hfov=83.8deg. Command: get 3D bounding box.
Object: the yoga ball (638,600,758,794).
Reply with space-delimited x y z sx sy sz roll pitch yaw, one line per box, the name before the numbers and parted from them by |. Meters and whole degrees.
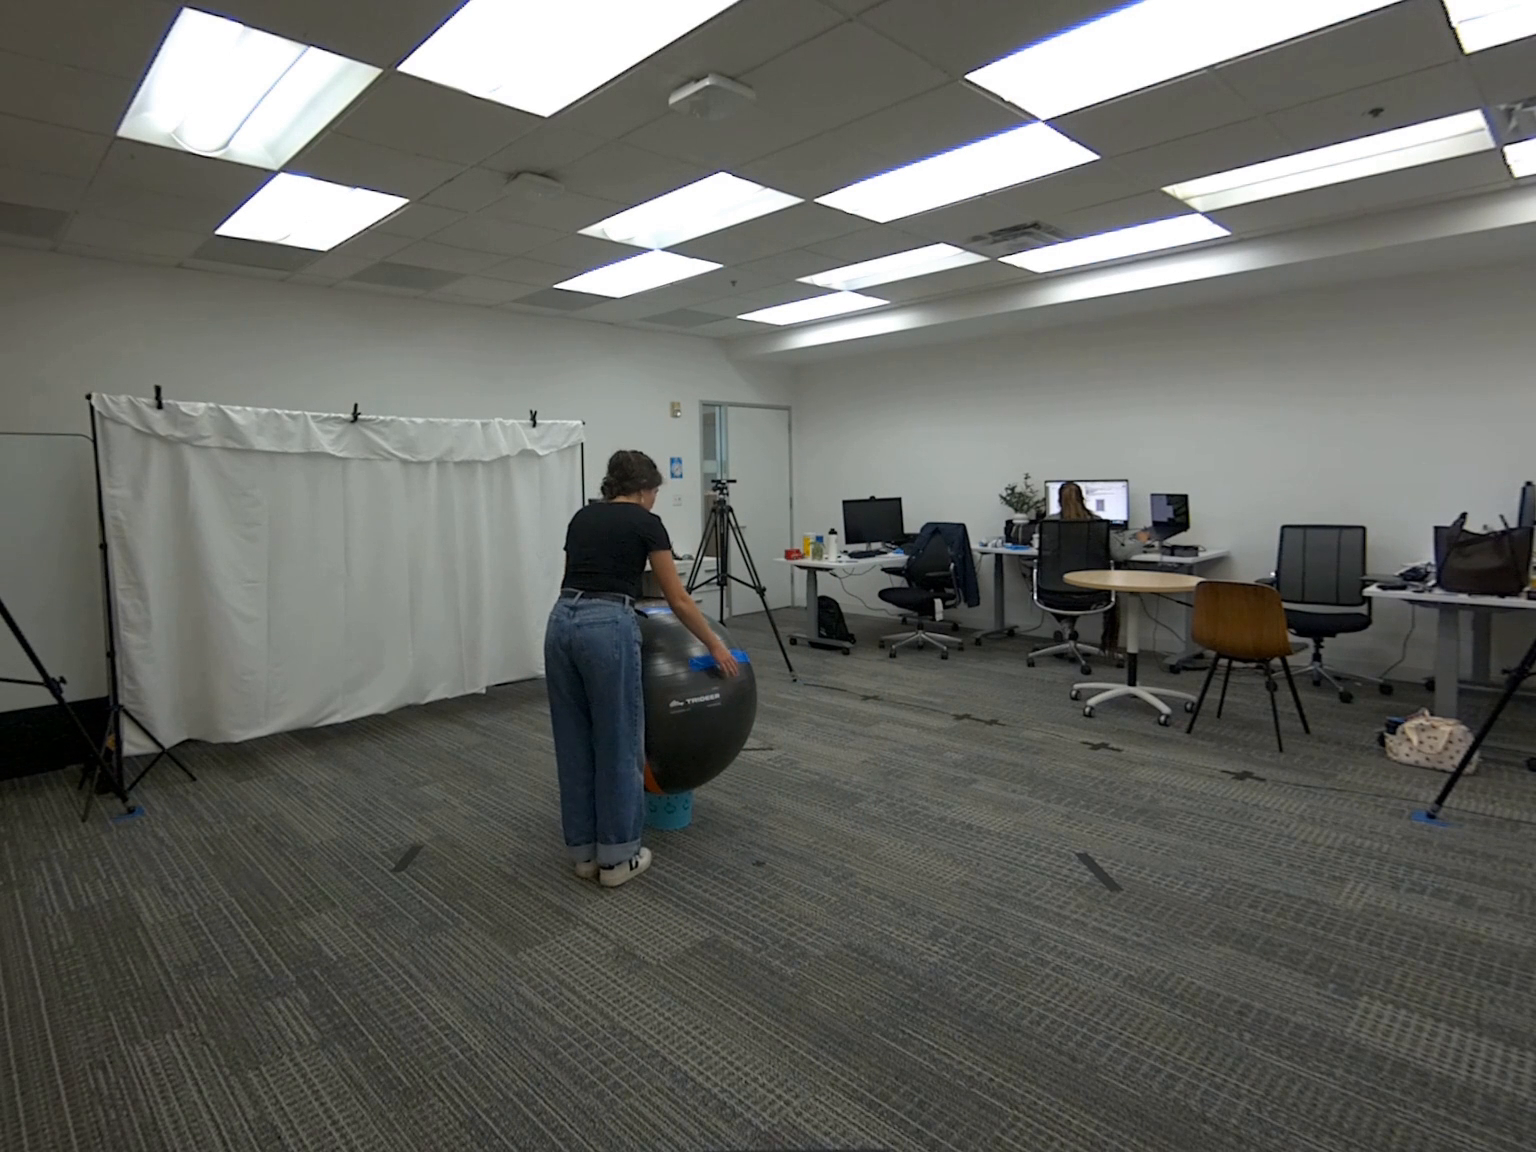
yoga ball | -0.426 0.498 3.493 0.757 0.755 0.762 -1 5 -2
